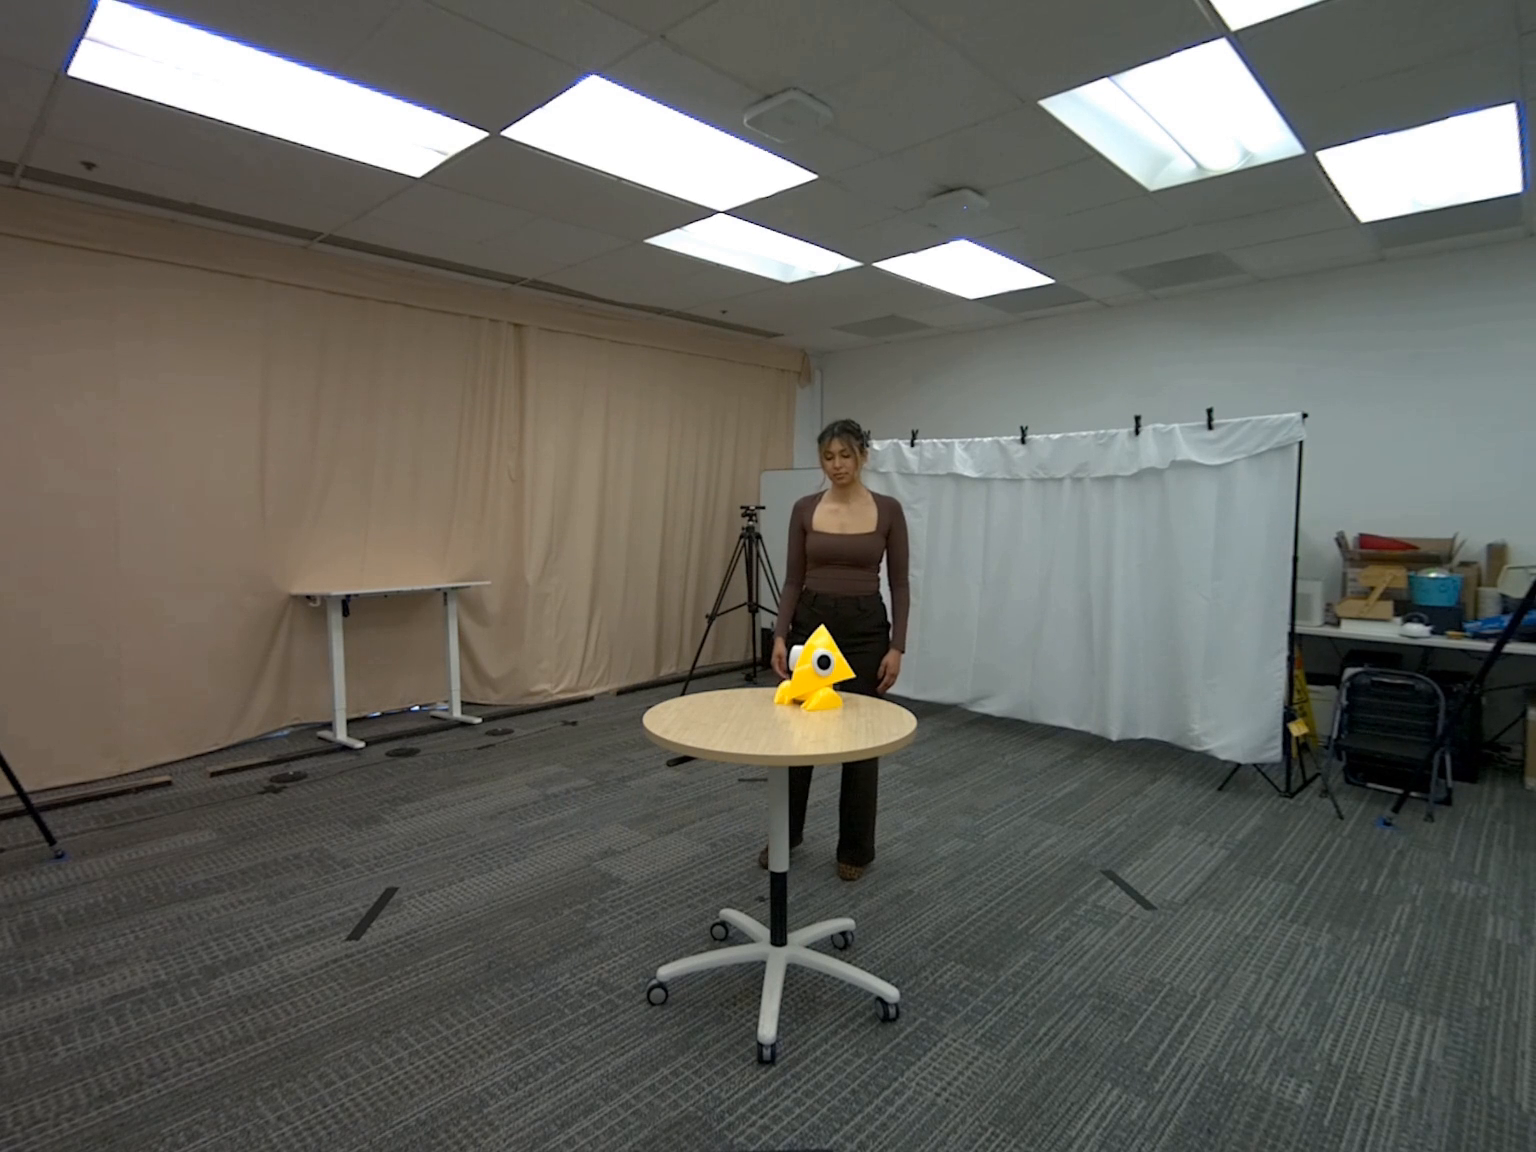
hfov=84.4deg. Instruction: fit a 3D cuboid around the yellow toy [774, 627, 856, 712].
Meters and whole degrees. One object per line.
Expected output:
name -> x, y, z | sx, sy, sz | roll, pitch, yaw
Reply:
yellow toy -> 0.131, 0.268, 2.552 | 0.187, 0.230, 0.212 | -3, 5, -44
